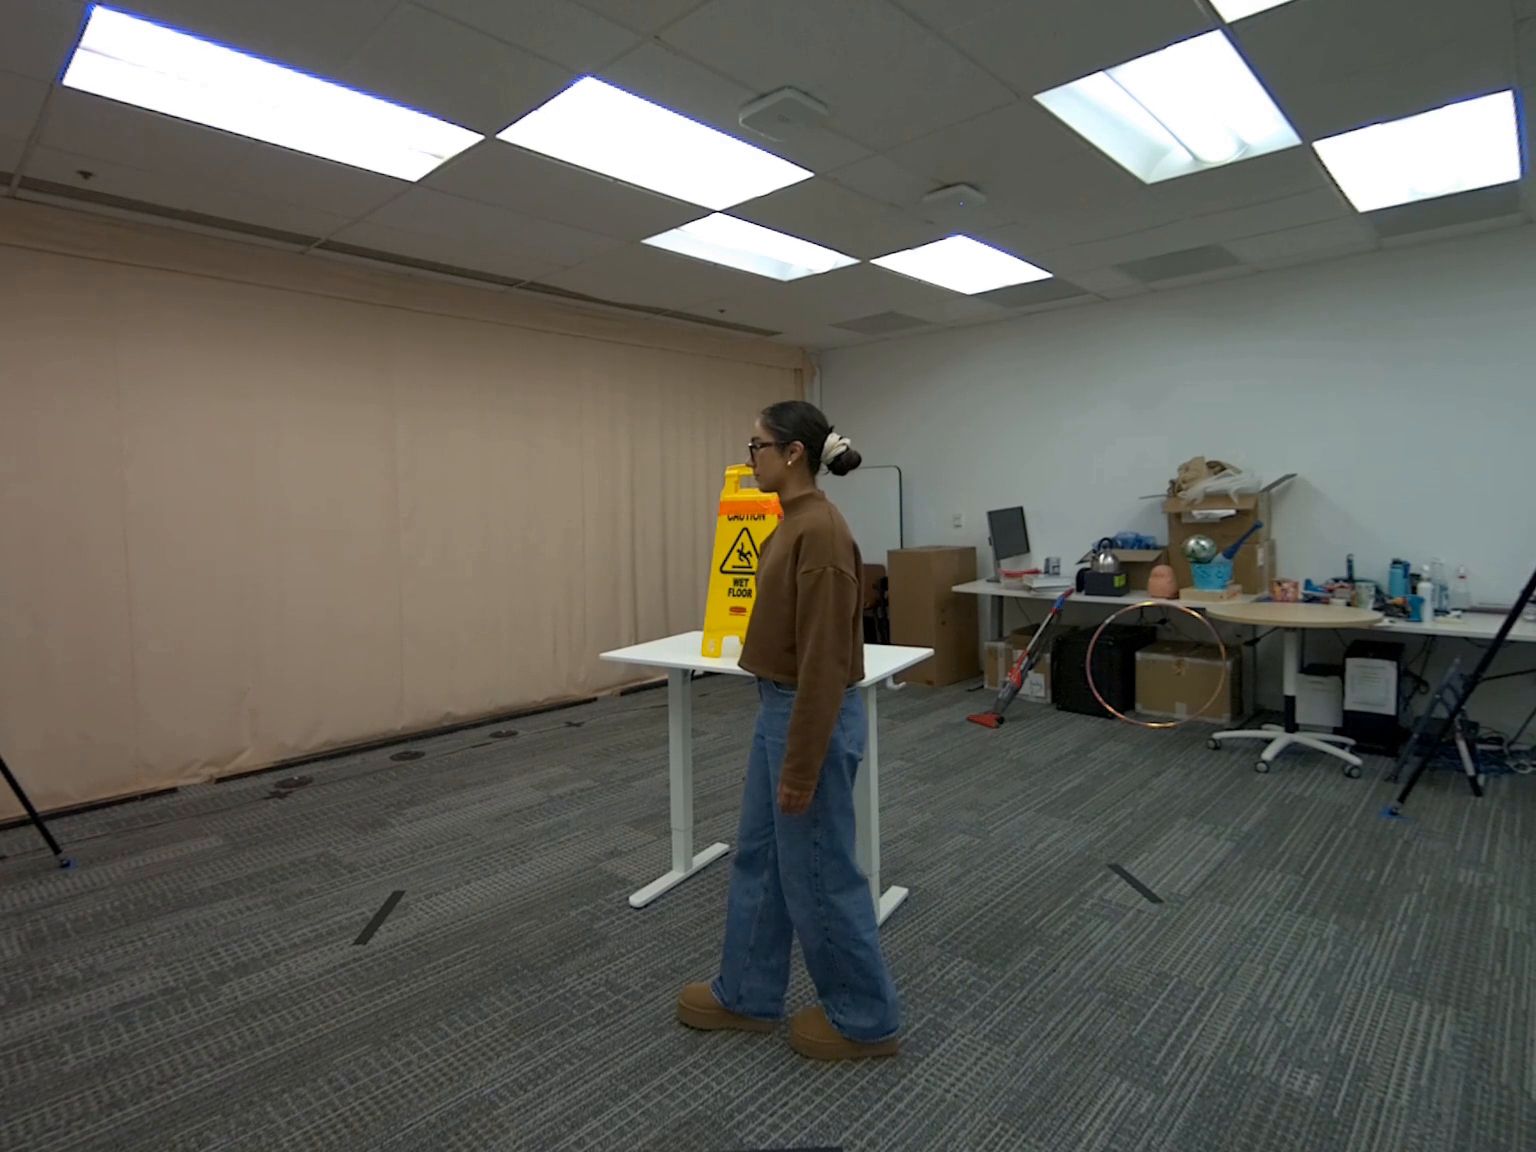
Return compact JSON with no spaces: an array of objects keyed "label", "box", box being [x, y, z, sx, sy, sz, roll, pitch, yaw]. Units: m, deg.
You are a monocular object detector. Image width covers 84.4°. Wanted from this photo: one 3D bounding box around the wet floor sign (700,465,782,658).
[{"label":"wet floor sign","box":[-0.043,-0.056,2.893,0.290,0.645,0.282,1,3,30]}]
